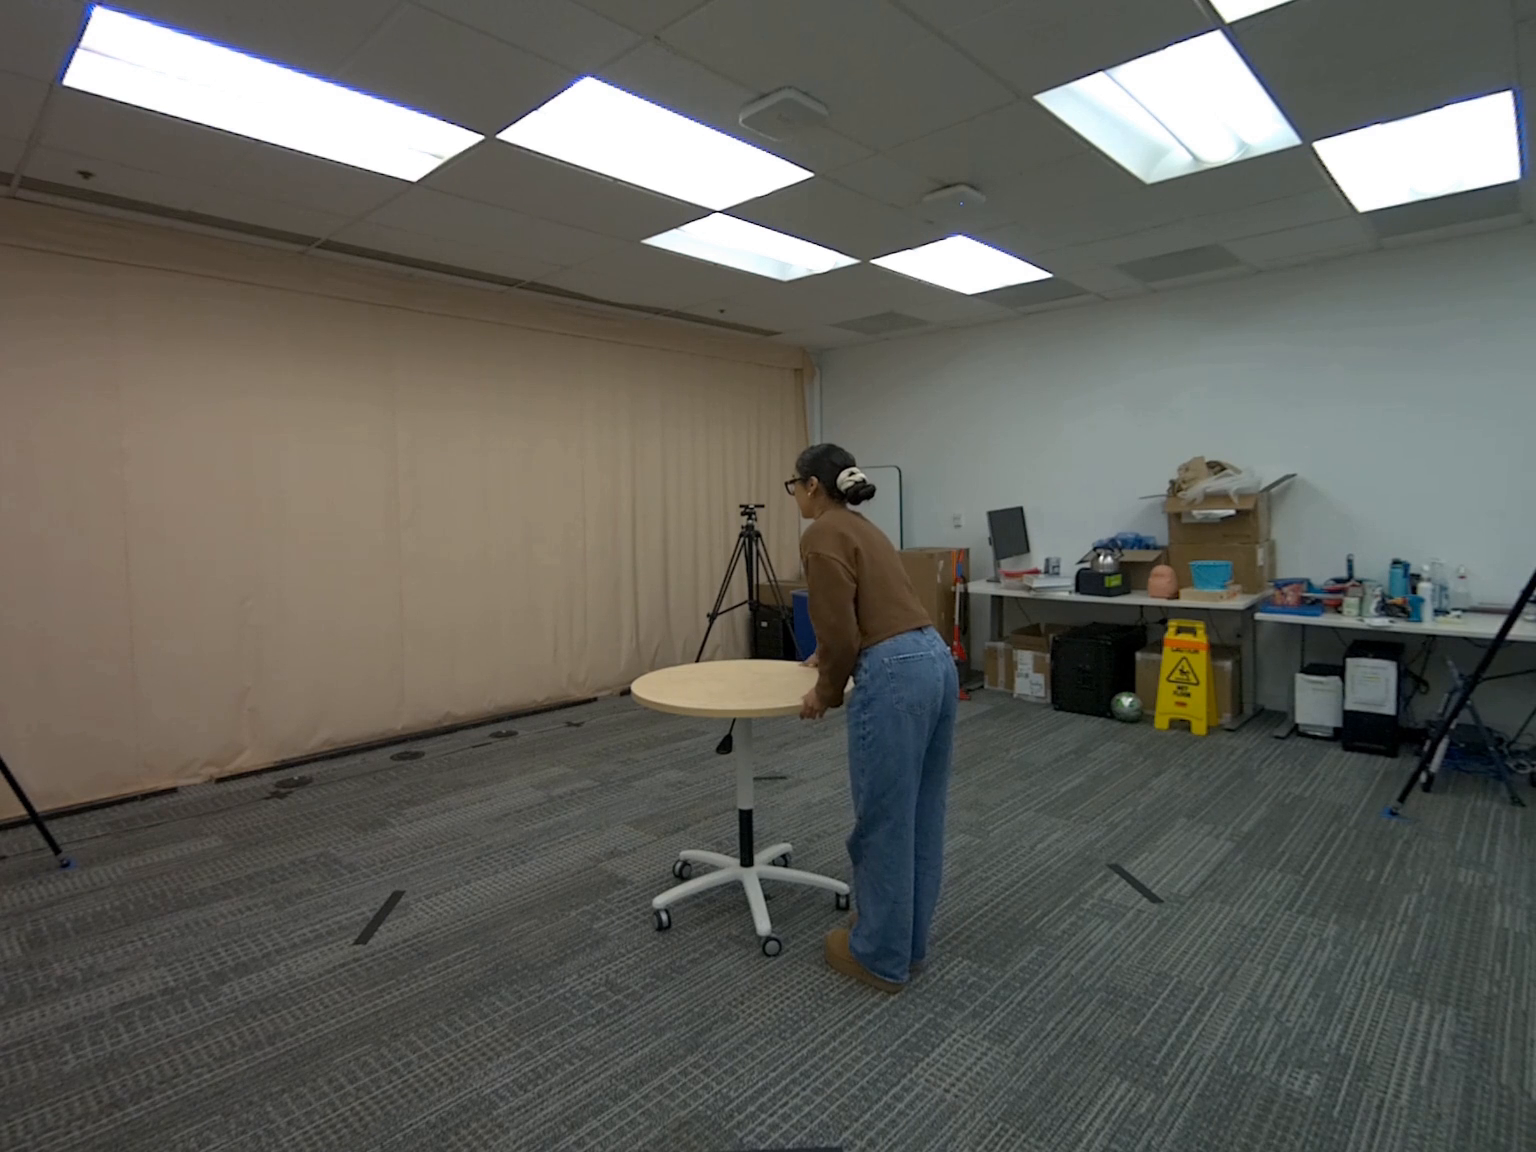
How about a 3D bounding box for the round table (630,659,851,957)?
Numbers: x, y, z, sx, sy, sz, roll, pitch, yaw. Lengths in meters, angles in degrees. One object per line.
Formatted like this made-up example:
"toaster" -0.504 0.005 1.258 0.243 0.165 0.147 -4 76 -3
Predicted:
"round table" -0.077 0.756 2.921 0.763 0.792 0.767 -1 4 -2
